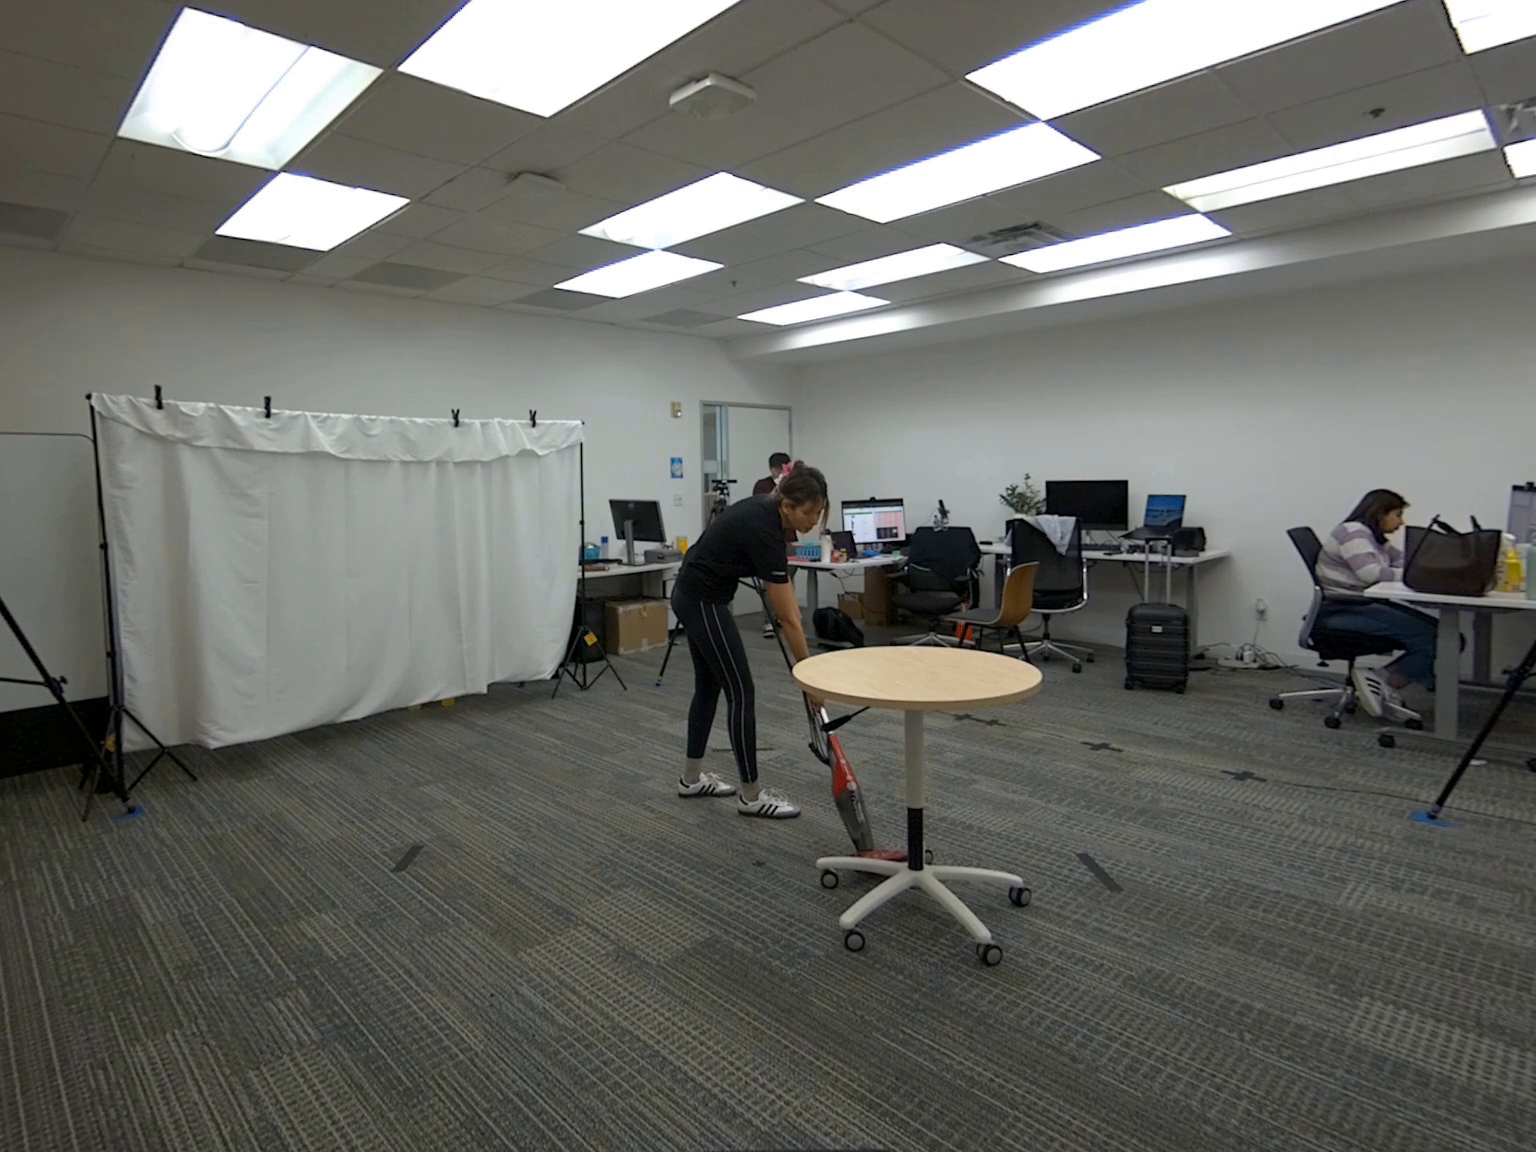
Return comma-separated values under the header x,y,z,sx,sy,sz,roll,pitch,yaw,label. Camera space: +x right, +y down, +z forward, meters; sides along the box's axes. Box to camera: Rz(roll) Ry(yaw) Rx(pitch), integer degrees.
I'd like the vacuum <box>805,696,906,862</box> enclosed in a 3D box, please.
x,y,z,sx,sy,sz,roll,pitch,yaw,label
0.241,0.656,3.398,0.248,0.141,1.088,-1,41,-21,vacuum
